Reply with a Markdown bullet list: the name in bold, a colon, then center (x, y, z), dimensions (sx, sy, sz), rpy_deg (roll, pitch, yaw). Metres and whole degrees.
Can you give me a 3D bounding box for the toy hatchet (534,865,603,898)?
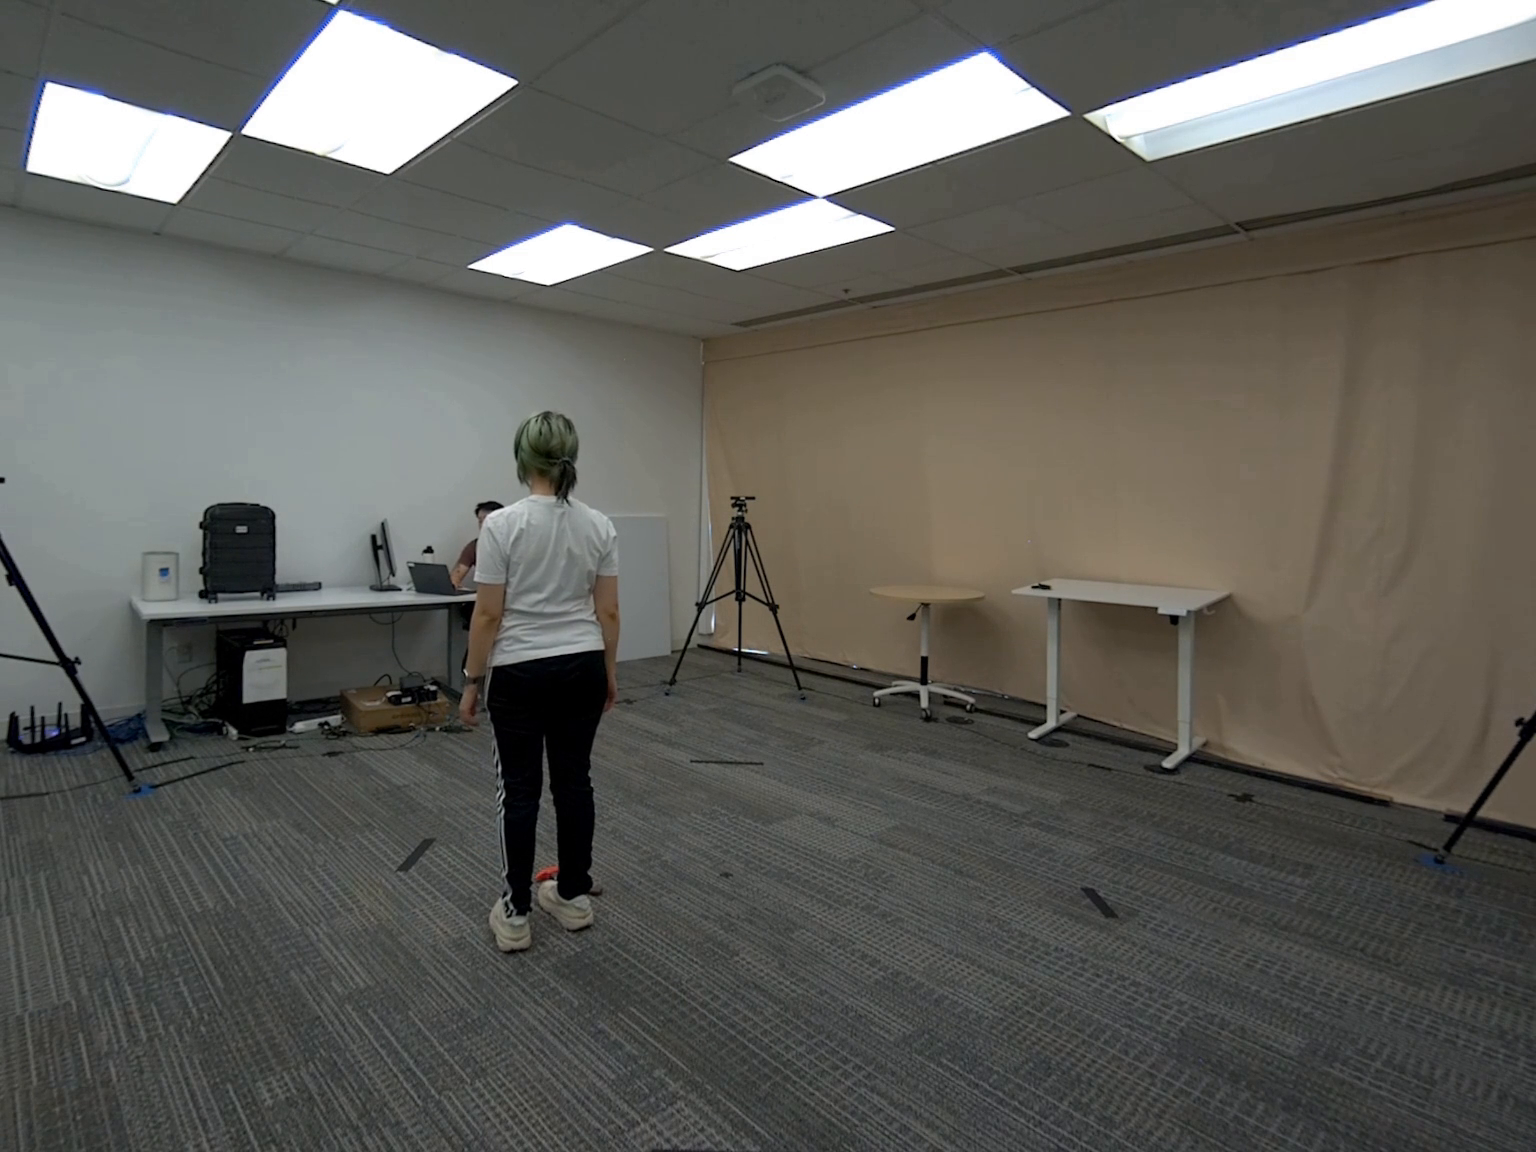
- **toy hatchet**: center (-0.695, 1.088, 3.013), dimensions (0.274, 0.029, 0.129), rpy_deg (6, 4, 18)
